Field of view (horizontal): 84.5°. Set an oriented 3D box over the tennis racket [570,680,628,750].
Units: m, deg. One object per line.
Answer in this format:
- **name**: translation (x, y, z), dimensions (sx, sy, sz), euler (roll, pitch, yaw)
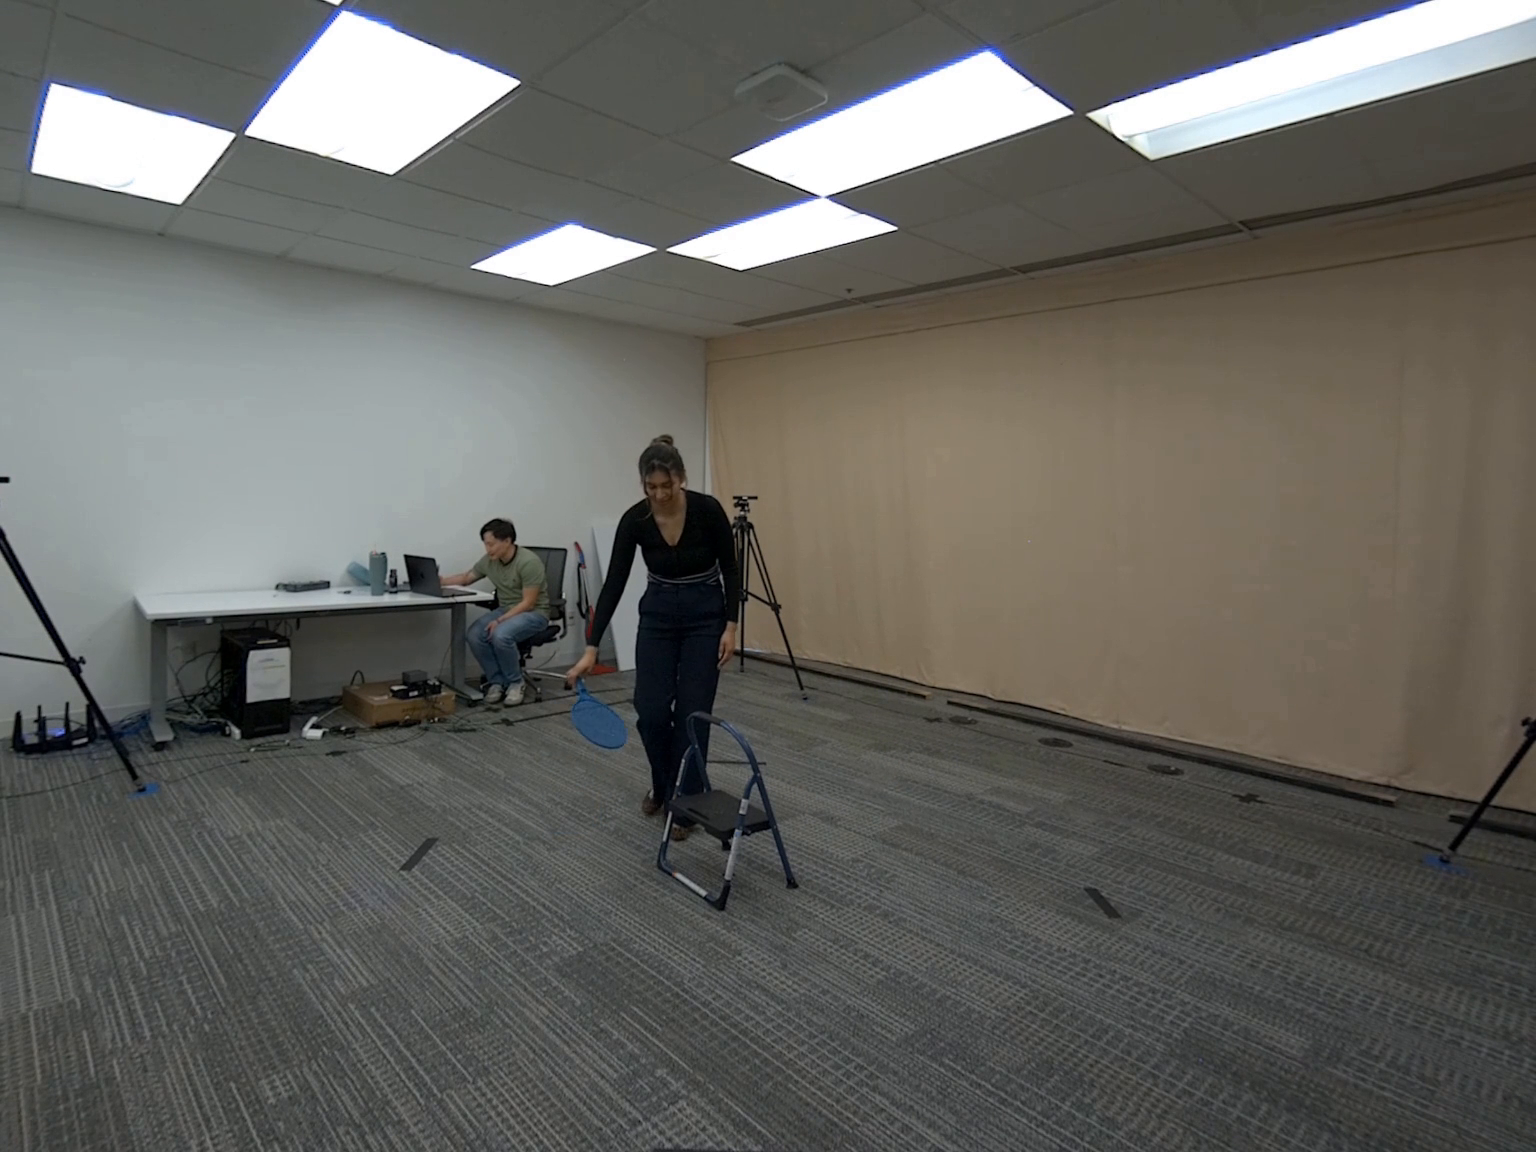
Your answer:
- **tennis racket**: translation (-0.685, 0.507, 3.194), dimensions (0.208, 0.031, 0.447), euler (11, 24, -38)
